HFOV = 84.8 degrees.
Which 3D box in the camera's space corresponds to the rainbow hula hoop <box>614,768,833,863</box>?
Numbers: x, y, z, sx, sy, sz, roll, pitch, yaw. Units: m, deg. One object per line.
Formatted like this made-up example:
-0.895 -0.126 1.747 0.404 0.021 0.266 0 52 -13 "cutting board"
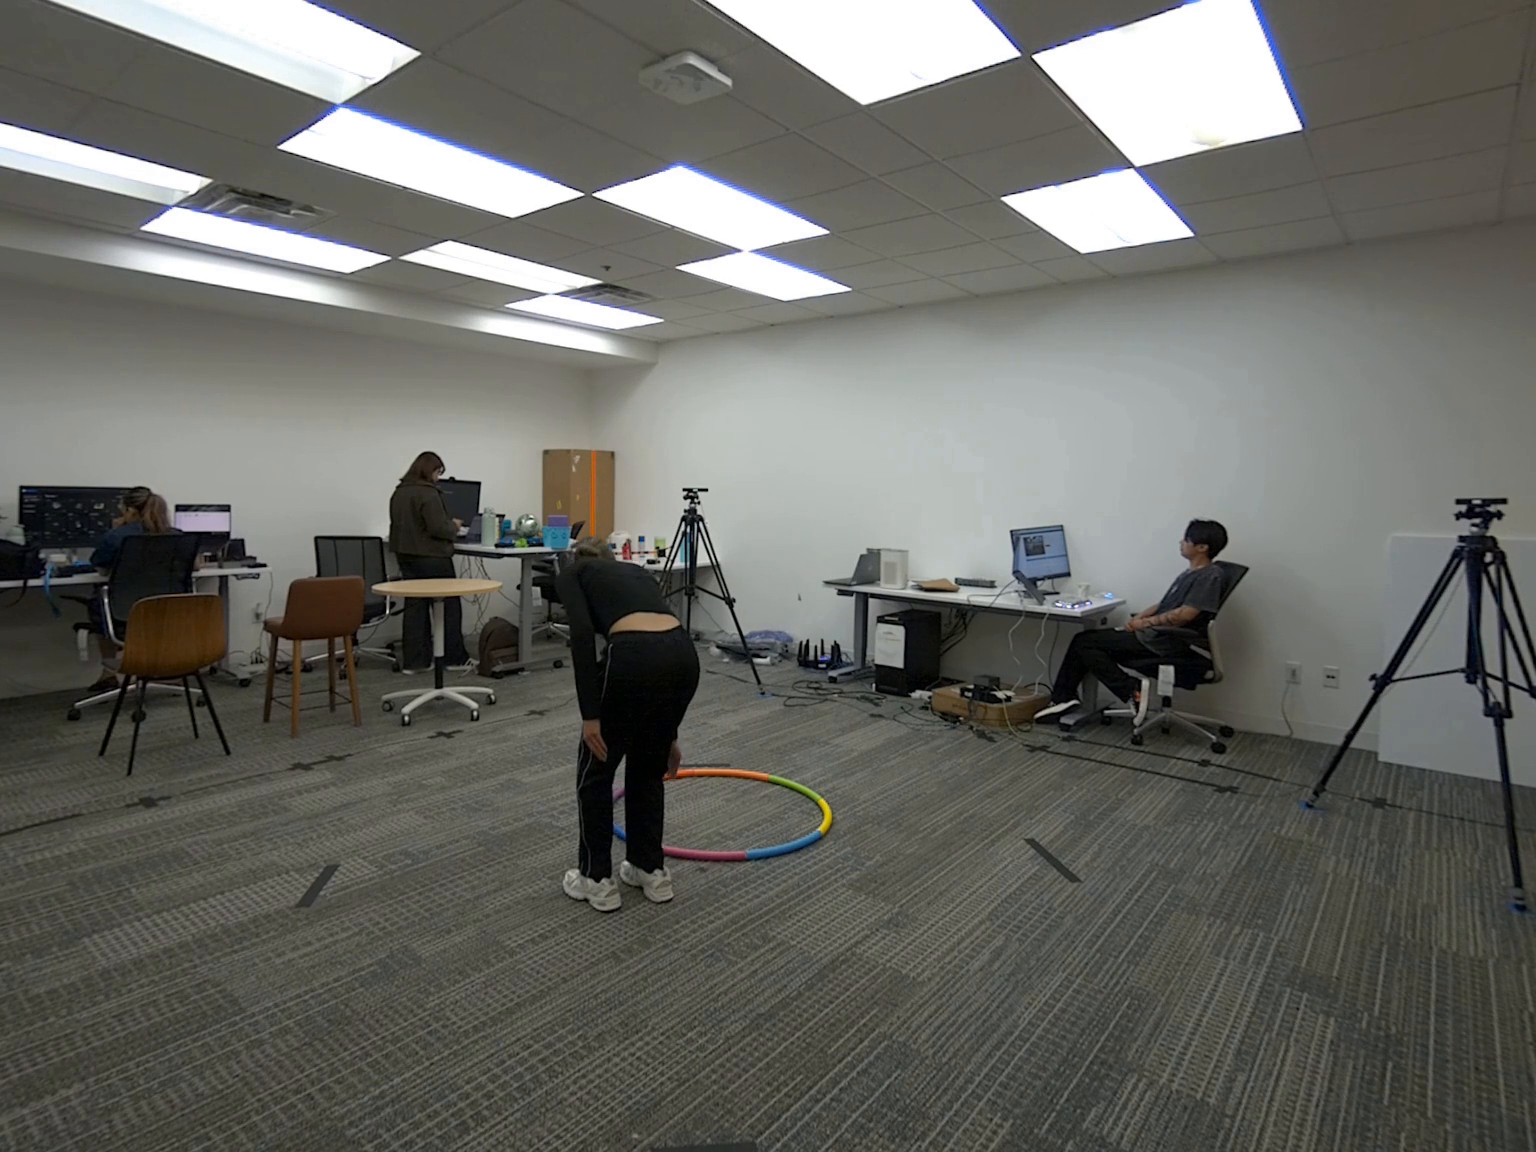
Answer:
-0.229 0.986 3.654 0.978 0.035 0.984 1 6 -2 "rainbow hula hoop"
